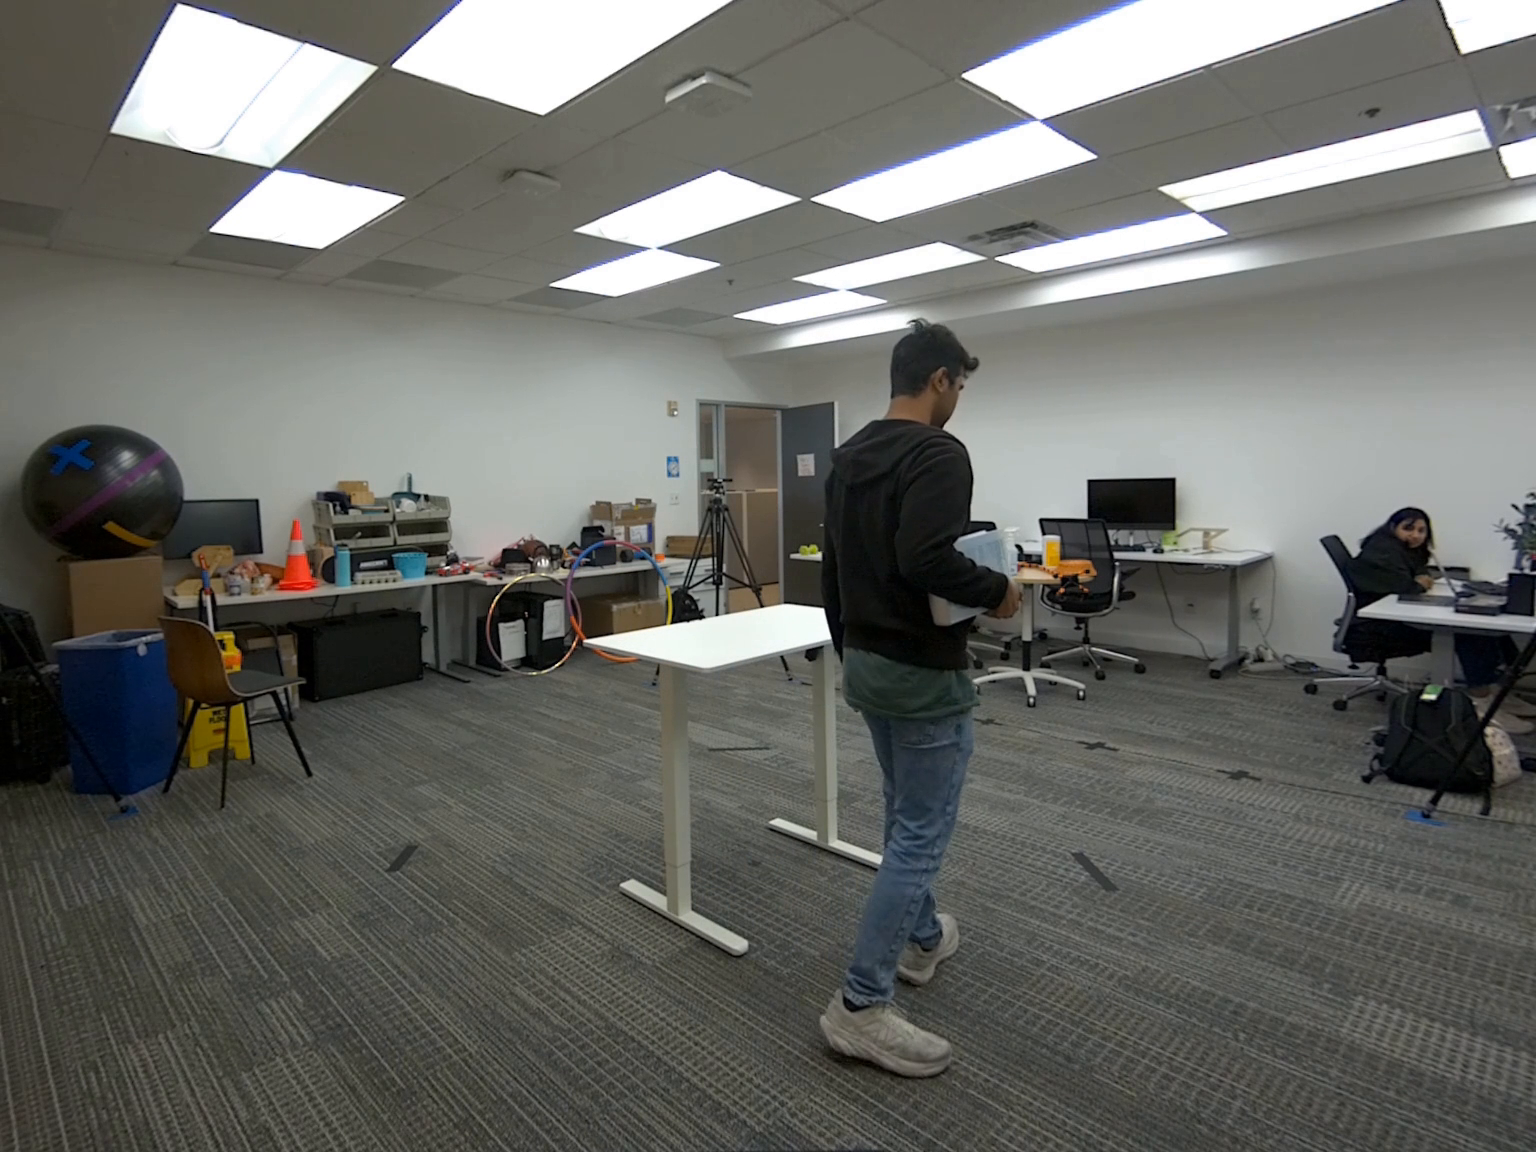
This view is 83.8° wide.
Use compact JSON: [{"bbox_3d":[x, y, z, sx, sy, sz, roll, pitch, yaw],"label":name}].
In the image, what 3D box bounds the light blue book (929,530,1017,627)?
[{"bbox_3d":[0.492,-0.001,2.123,0.256,0.191,0.060,-15,-1,-33],"label":"light blue book"}]
